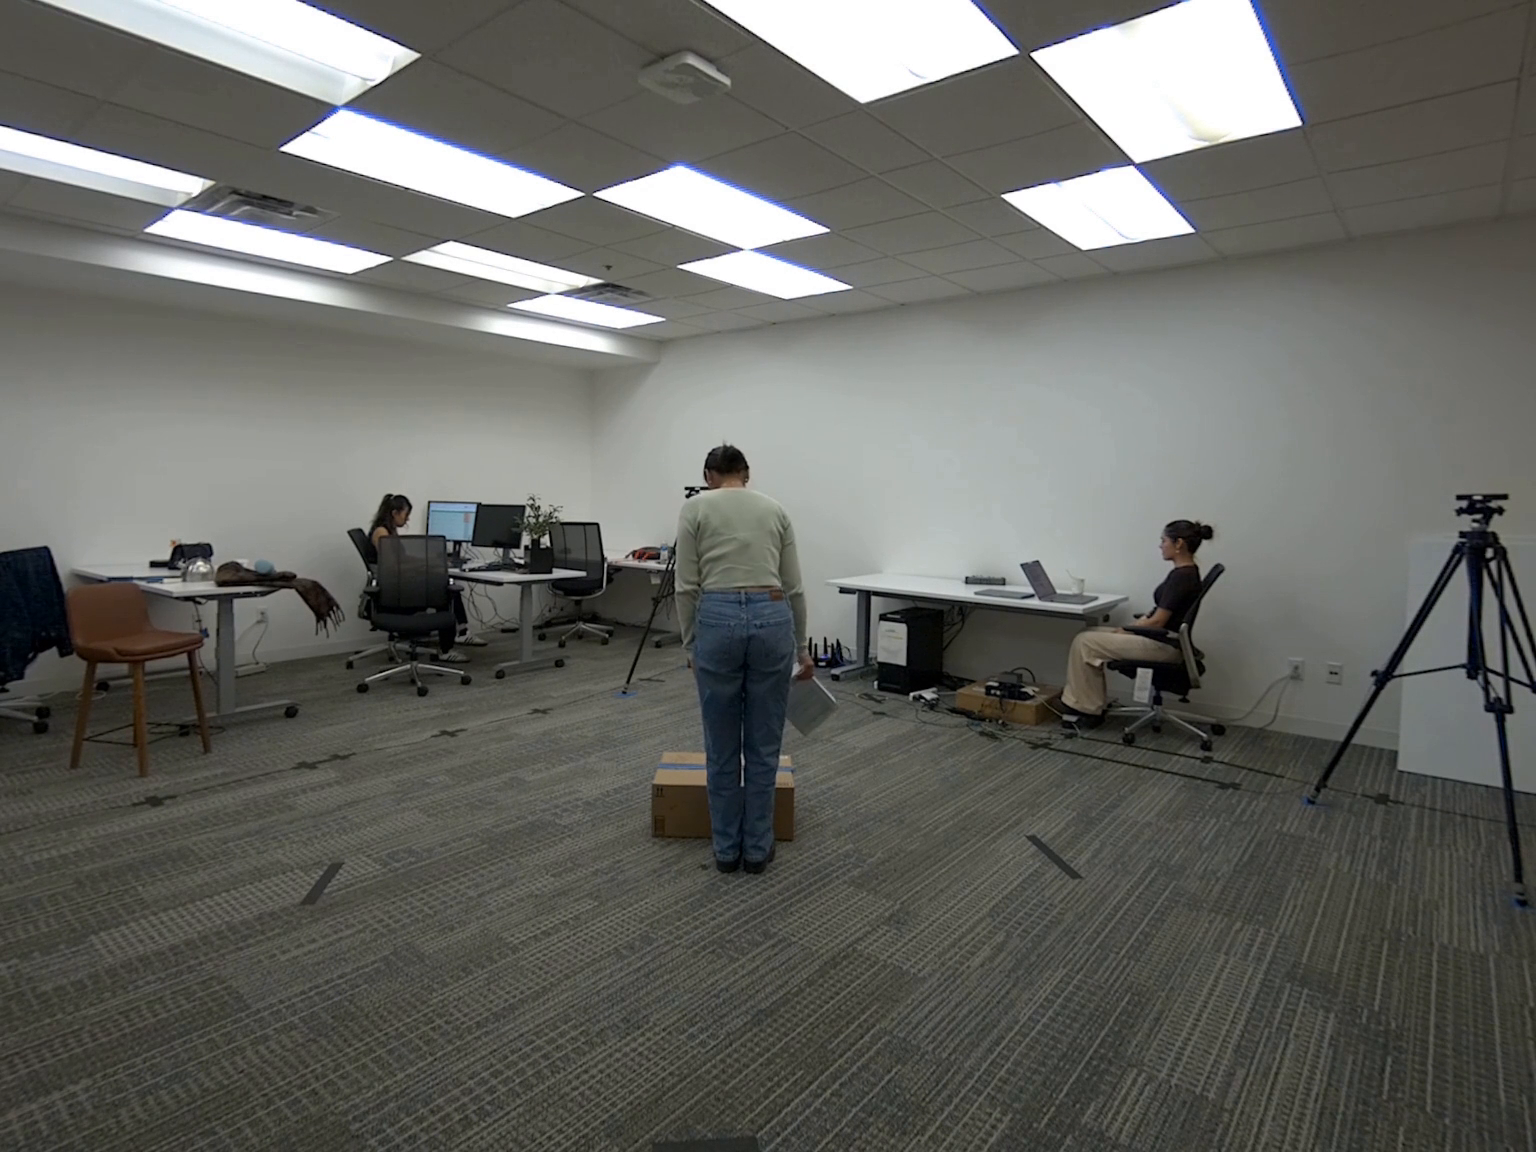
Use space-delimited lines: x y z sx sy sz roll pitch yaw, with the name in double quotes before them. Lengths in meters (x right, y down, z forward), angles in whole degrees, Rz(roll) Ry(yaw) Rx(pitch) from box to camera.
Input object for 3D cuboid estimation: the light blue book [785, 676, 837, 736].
"light blue book" 0.119 0.472 3.336 0.253 0.191 0.061 46 4 -25
